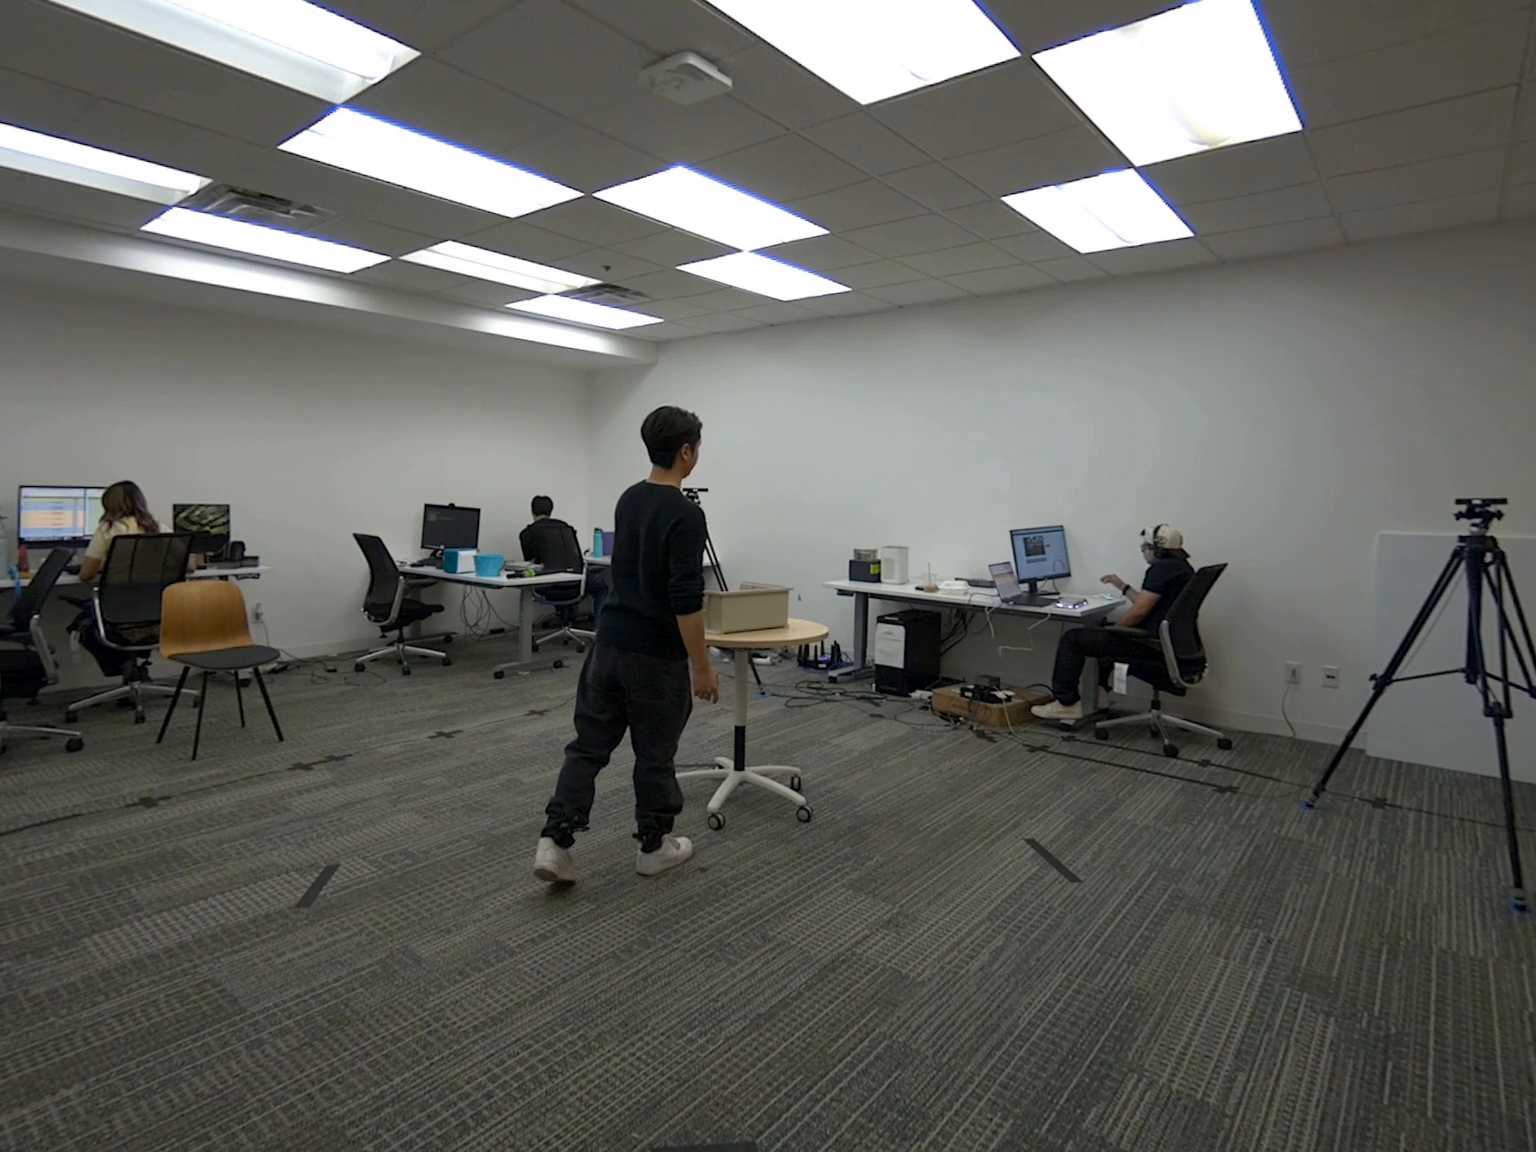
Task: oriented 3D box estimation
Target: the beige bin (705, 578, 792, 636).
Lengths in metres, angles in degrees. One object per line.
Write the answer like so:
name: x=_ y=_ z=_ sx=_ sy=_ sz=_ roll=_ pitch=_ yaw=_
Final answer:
beige bin: x=-0.181 y=0.128 z=3.791 sx=0.409 sy=0.188 sz=0.390 roll=-3 pitch=6 yaw=-42
